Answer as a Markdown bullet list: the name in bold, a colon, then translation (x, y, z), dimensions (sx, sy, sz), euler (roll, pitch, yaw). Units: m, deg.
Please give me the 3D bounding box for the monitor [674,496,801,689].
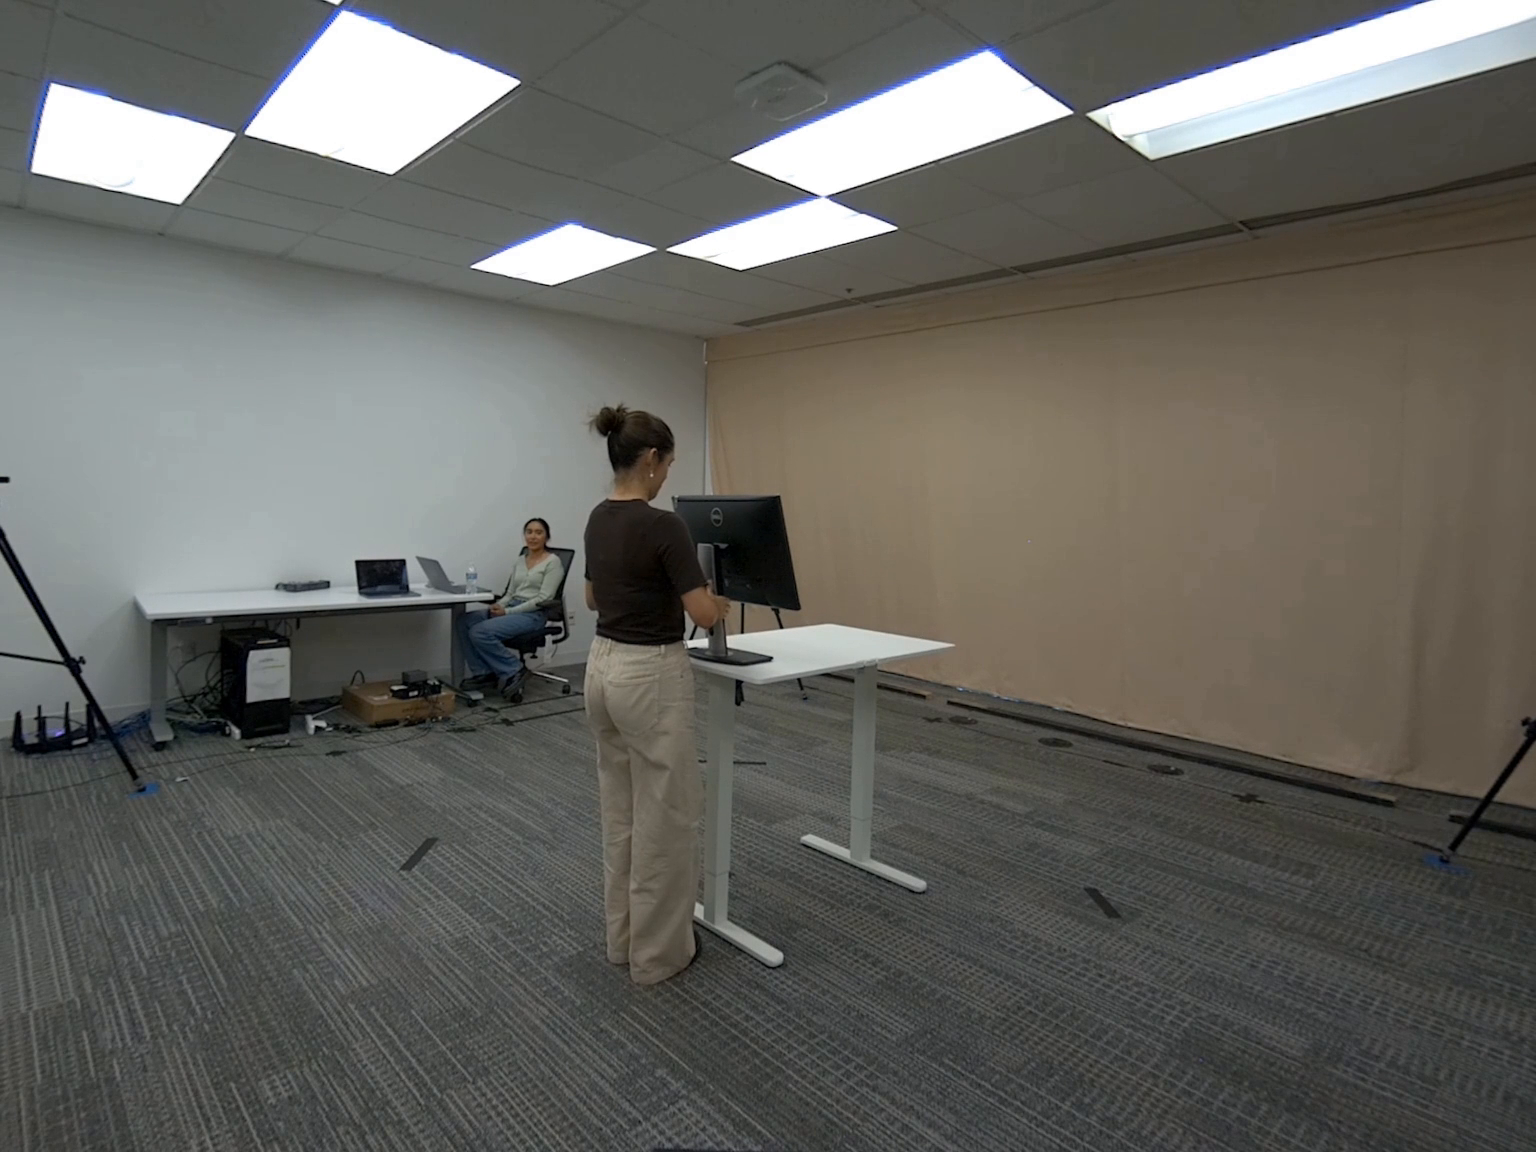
- **monitor**: translation (-0.137, 0.009, 2.642), dimensions (0.183, 0.521, 0.553), euler (-4, 6, -42)
